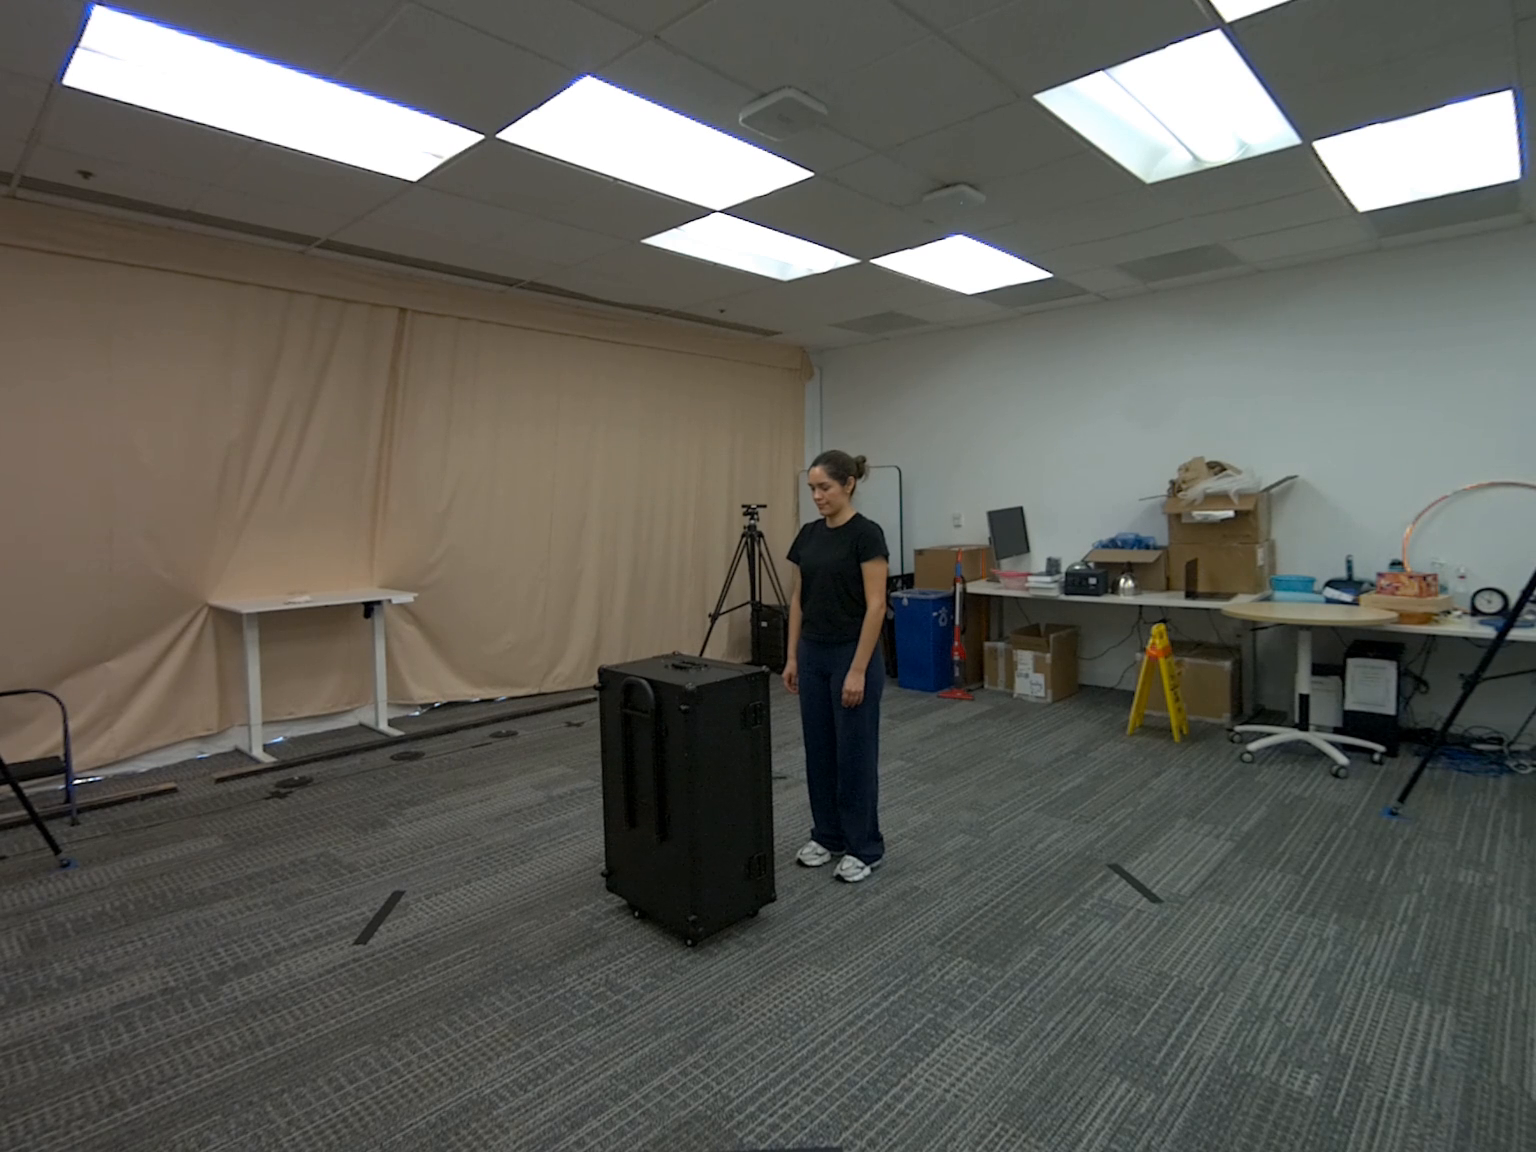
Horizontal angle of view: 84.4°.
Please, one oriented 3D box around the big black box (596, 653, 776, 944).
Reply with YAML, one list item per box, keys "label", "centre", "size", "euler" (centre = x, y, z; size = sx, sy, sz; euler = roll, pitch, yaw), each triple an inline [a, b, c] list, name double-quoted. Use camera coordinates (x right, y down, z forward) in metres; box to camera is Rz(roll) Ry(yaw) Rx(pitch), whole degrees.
- label: "big black box"
  centre: [-0.262, 0.734, 2.834]
  size: [0.384, 0.859, 0.538]
  euler: [-6, 6, -44]
